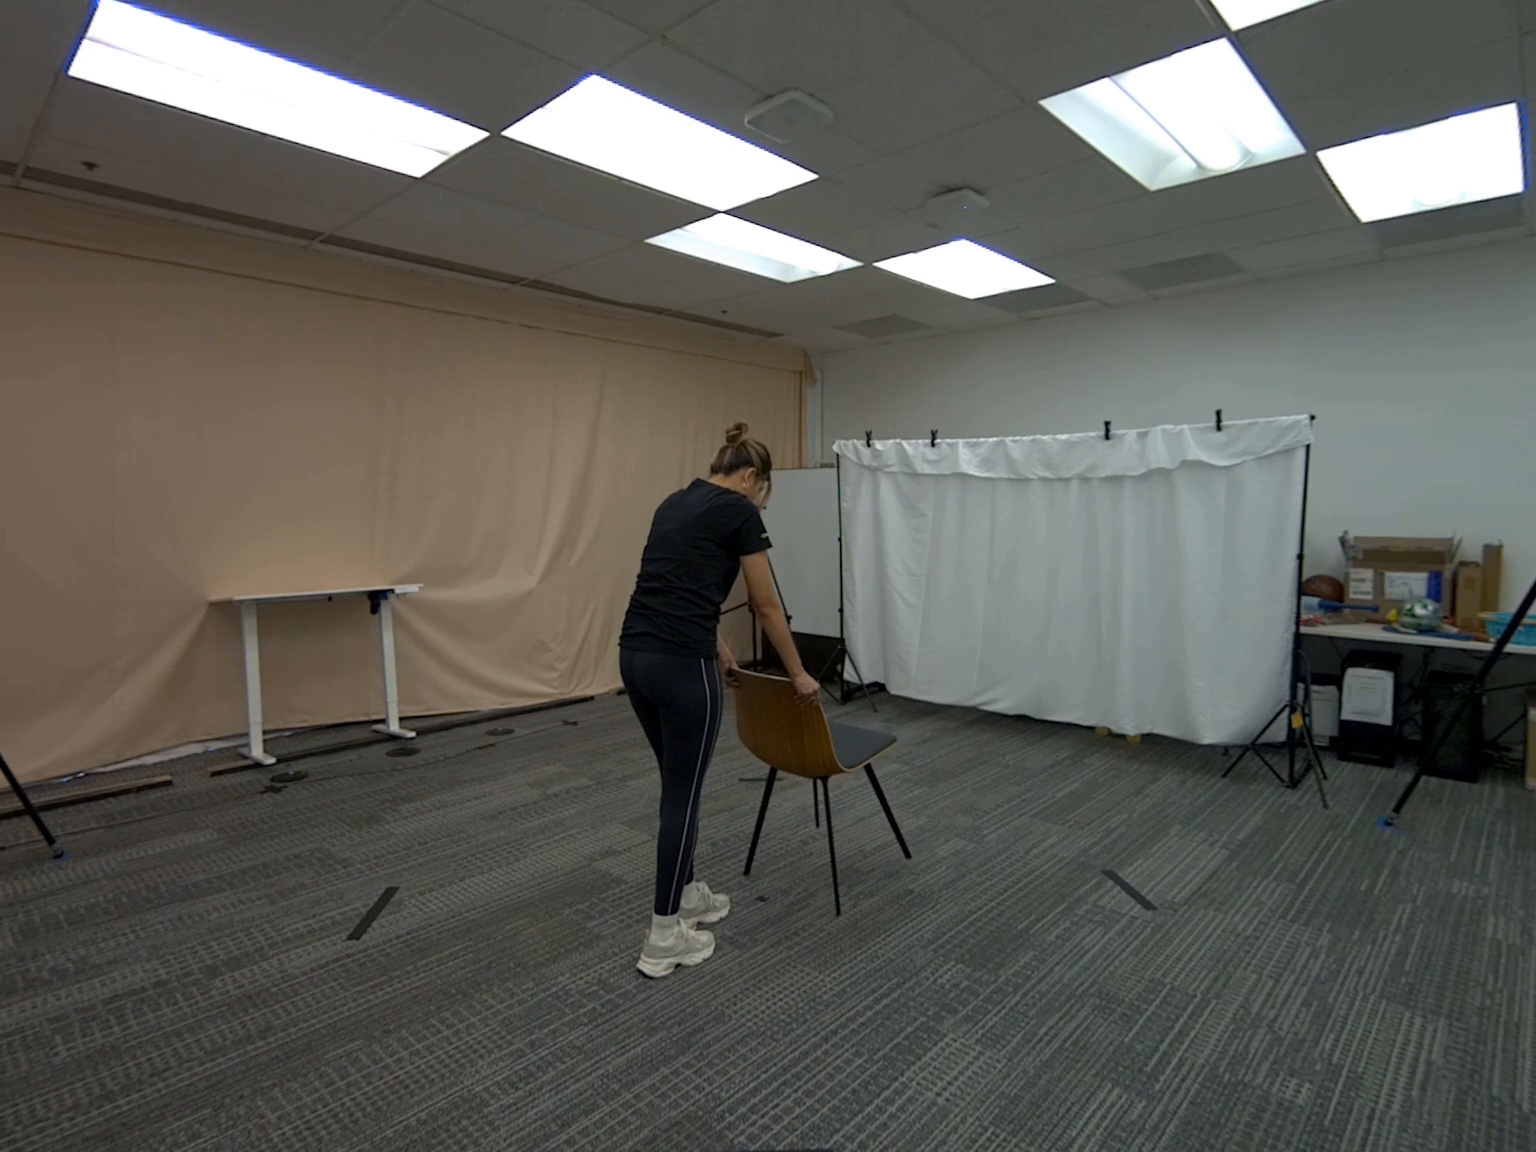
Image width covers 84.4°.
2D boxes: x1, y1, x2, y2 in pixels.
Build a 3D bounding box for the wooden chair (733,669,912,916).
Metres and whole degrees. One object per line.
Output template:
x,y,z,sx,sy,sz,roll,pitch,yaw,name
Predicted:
0.189,0.679,3.101,0.494,0.869,0.511,3,17,44,wooden chair
